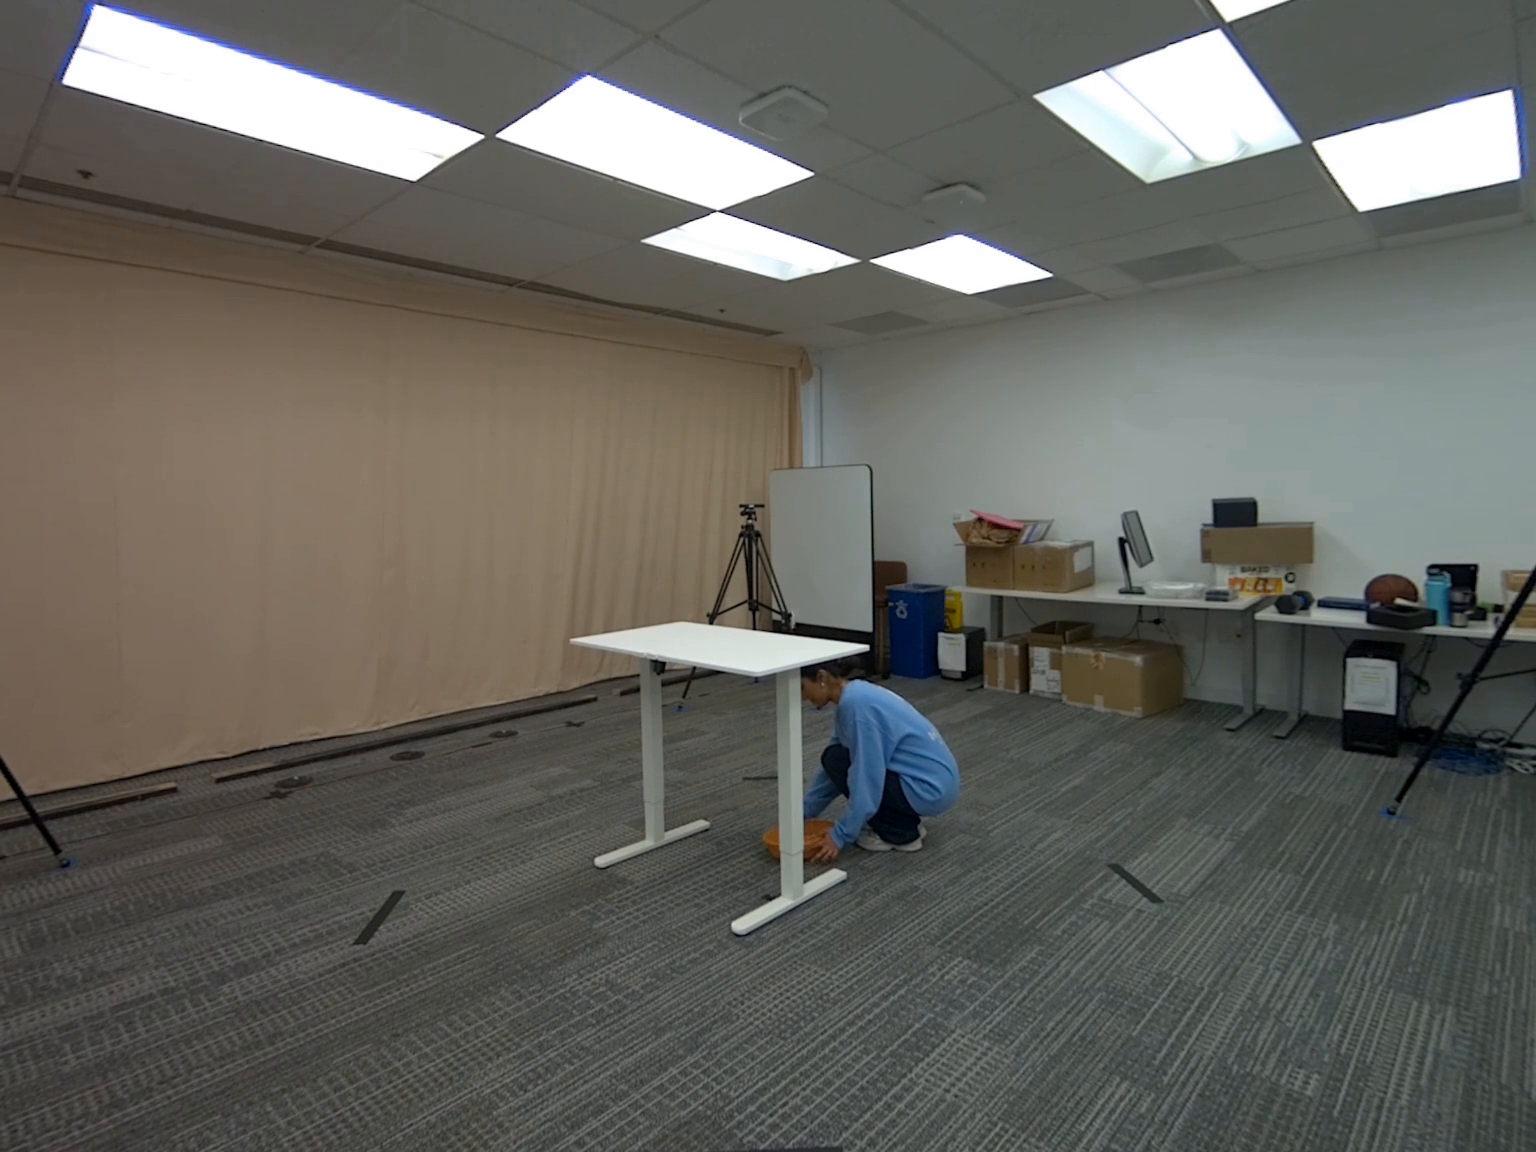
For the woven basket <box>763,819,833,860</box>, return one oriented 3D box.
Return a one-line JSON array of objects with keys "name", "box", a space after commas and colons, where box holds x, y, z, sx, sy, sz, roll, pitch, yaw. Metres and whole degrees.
[{"name": "woven basket", "box": [0.136, 1.055, 3.371, 0.340, 0.073, 0.260, -4, 1, -37]}]
